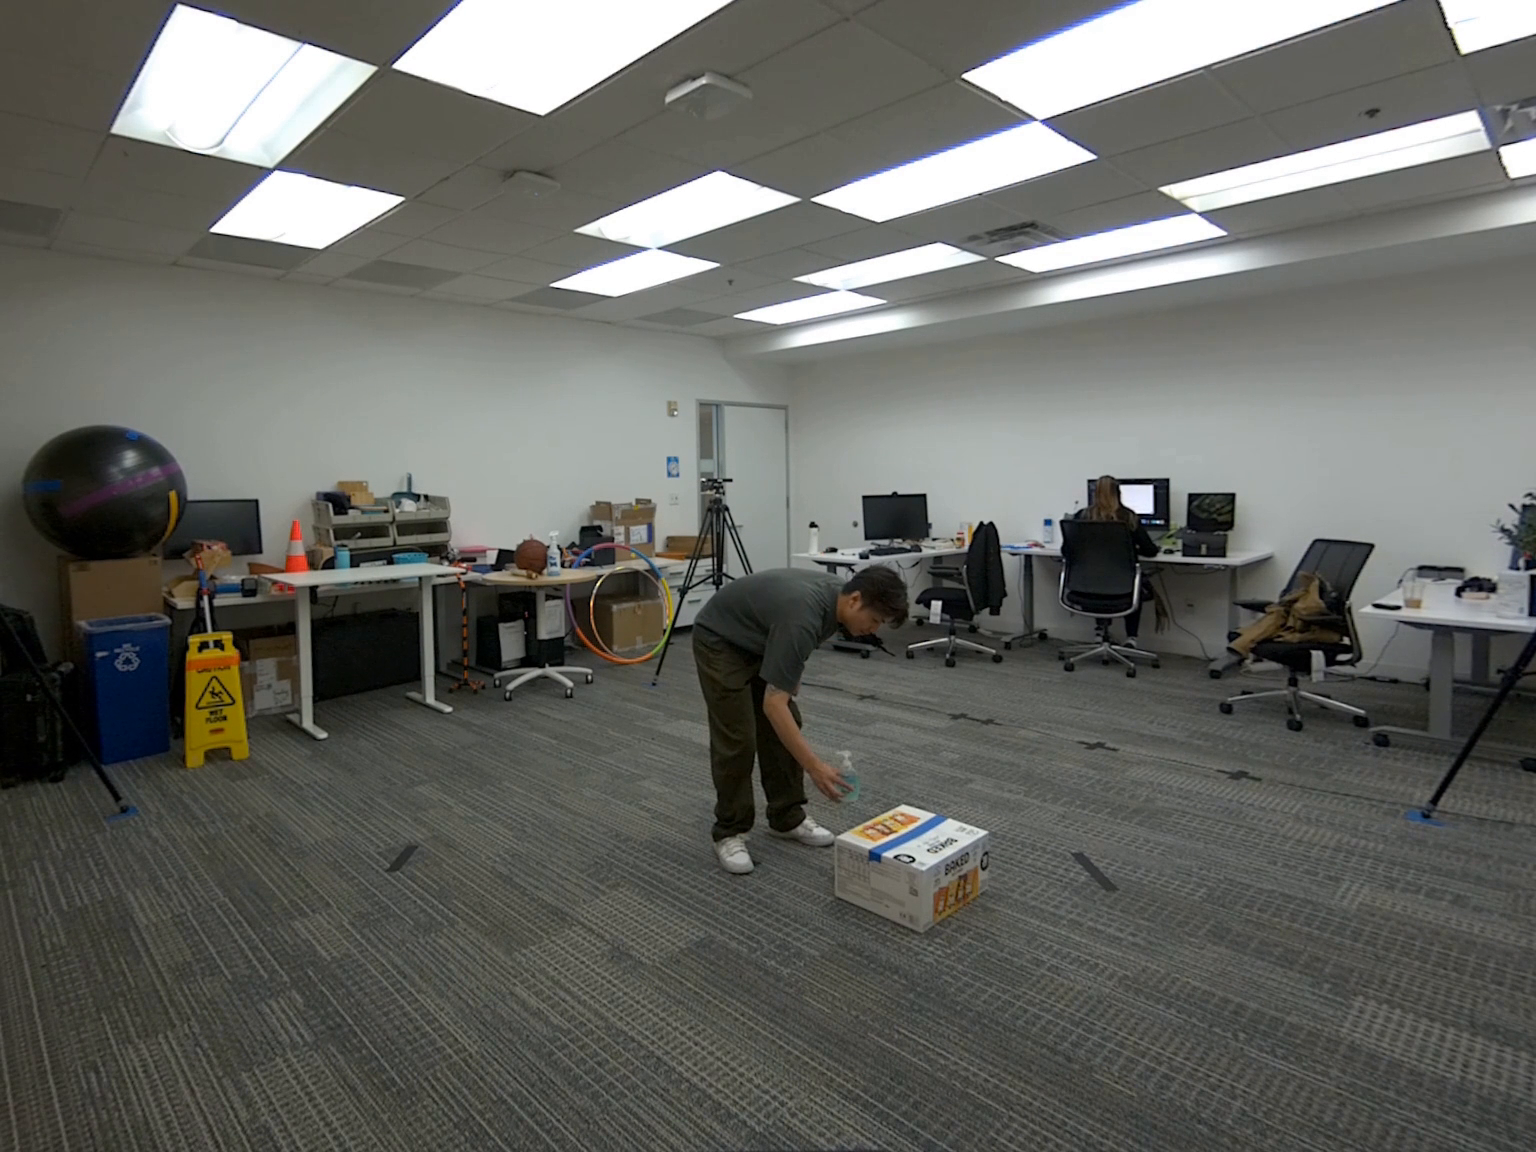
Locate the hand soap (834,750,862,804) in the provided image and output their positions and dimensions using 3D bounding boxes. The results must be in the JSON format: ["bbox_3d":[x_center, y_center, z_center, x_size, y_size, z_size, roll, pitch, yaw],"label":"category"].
[{"bbox_3d":[0.250,0.649,2.749,0.085,0.166,0.043,-2,13,9],"label":"hand soap"}]
